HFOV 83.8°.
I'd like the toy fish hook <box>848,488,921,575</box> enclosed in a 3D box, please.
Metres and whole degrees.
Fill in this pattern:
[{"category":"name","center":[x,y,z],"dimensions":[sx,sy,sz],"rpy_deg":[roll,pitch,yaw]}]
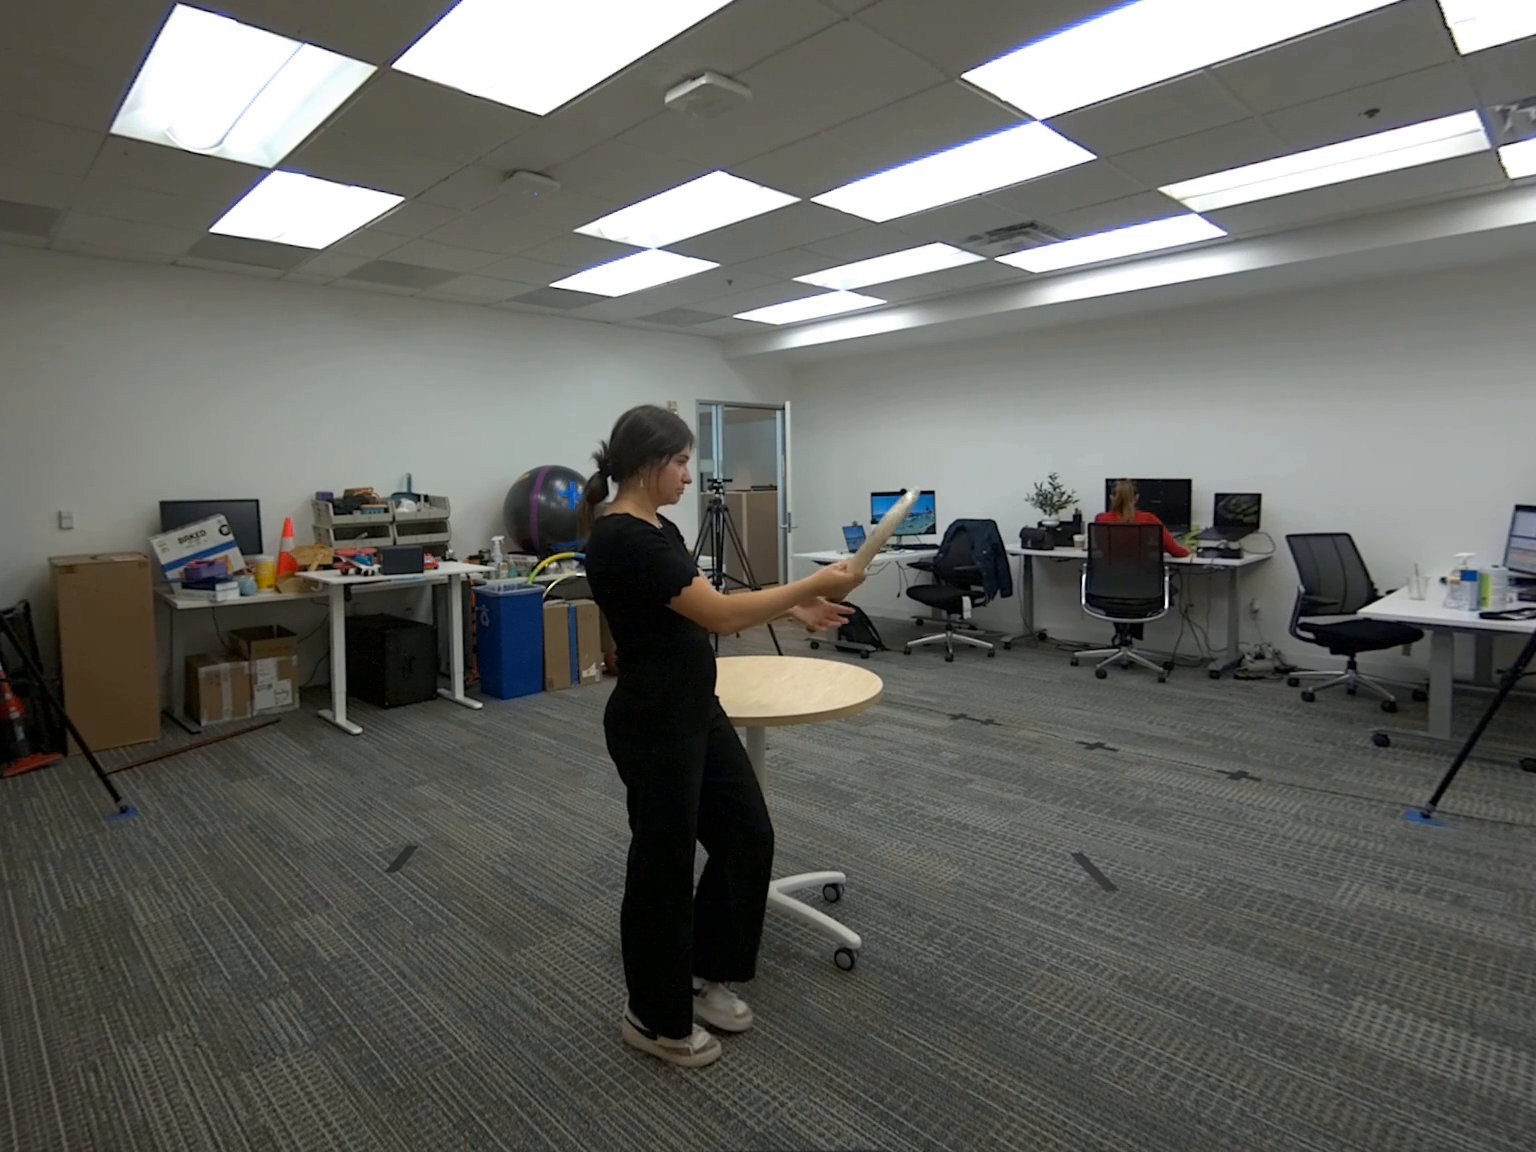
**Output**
[{"category":"toy fish hook","center":[0.228,-0.020,2.073],"dimensions":[0.223,0.049,0.502],"rpy_deg":[-40,-13,-43]}]
